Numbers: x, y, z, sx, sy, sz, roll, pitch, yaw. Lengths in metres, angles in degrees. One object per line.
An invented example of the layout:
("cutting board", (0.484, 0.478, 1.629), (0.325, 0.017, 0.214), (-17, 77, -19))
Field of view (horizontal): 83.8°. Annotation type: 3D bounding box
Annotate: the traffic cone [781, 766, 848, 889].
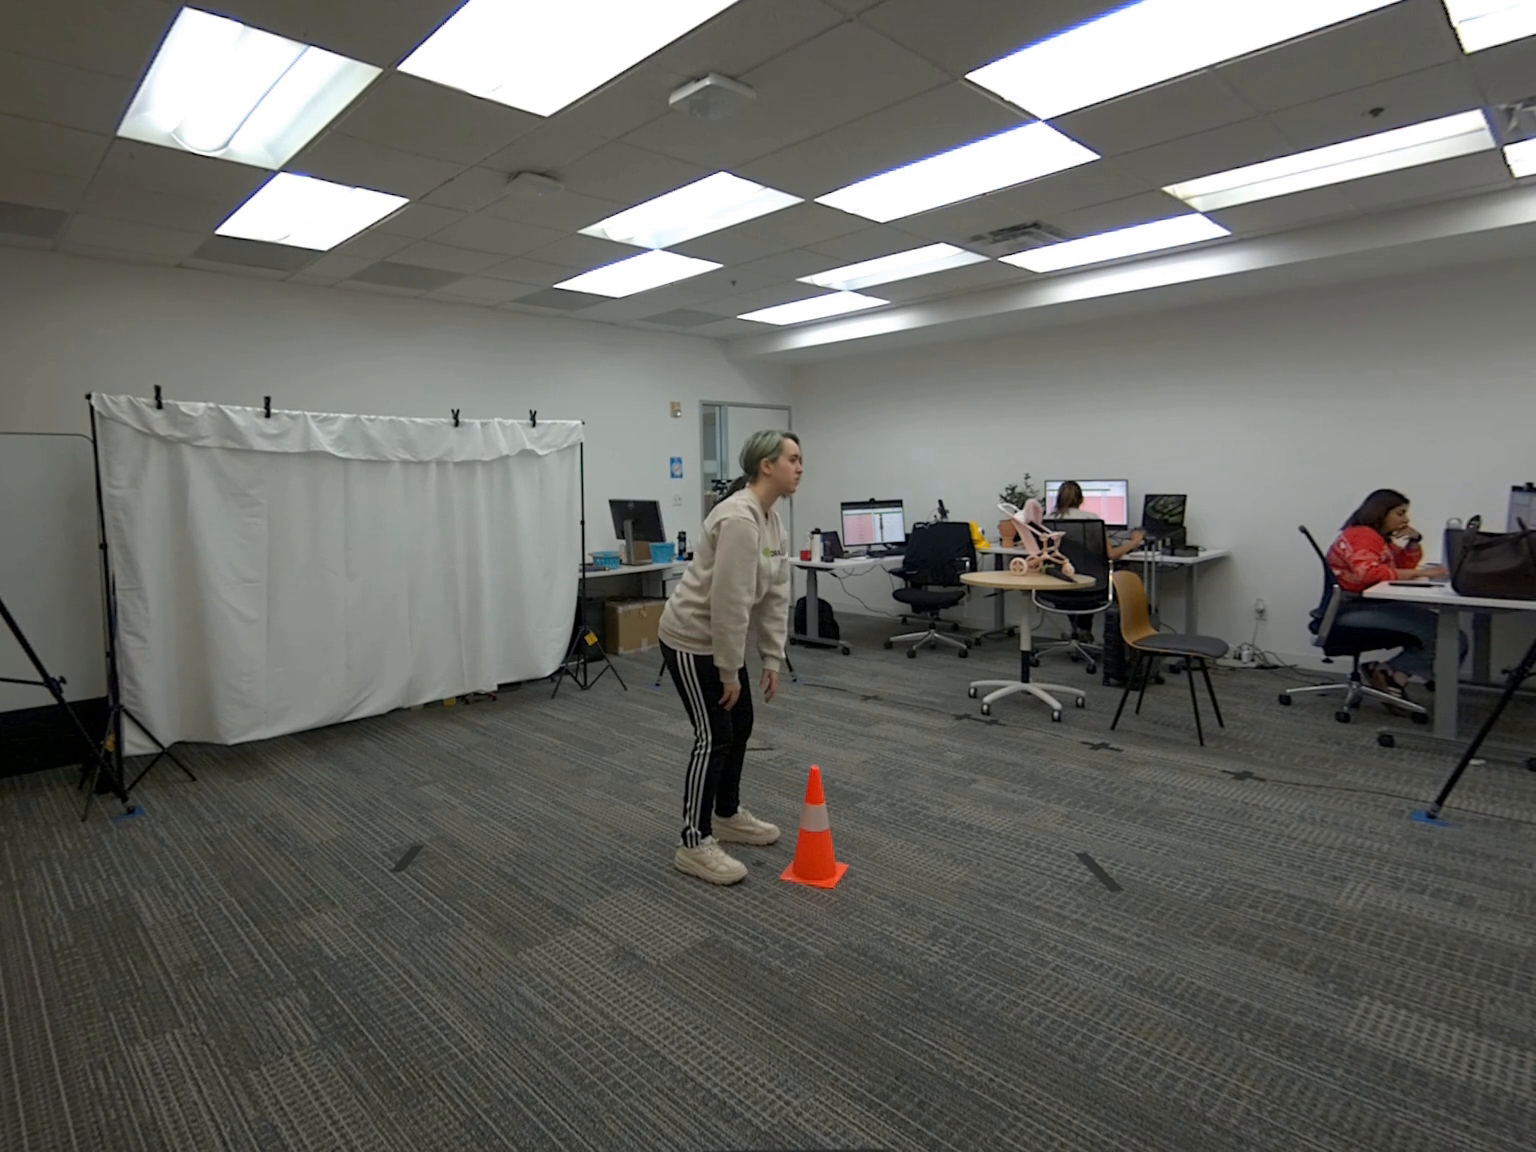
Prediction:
("traffic cone", (0.162, 0.866, 3.019), (0.208, 0.382, 0.201), (0, 5, 24))
